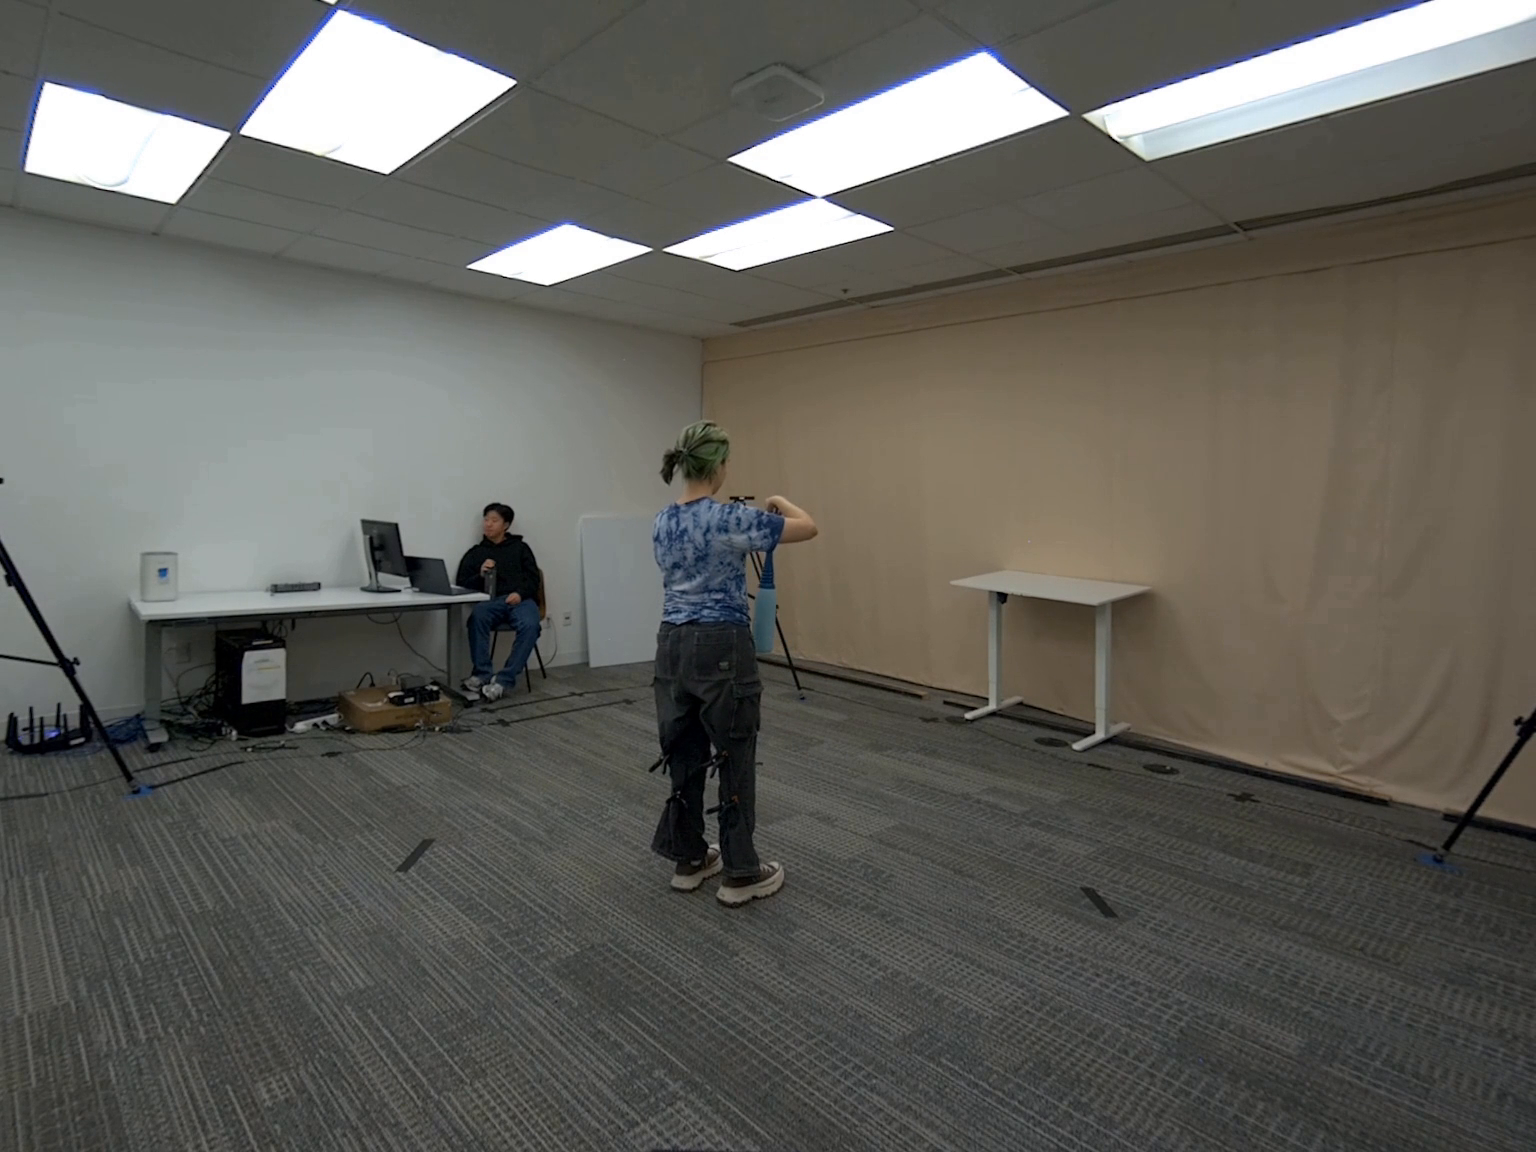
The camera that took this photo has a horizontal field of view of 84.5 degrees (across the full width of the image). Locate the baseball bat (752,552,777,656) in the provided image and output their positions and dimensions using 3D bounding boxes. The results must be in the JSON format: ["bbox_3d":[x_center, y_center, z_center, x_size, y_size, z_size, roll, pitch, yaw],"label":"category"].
[{"bbox_3d":[-0.011,0.026,3.234,0.089,0.541,0.089,3,4,-2],"label":"baseball bat"}]
